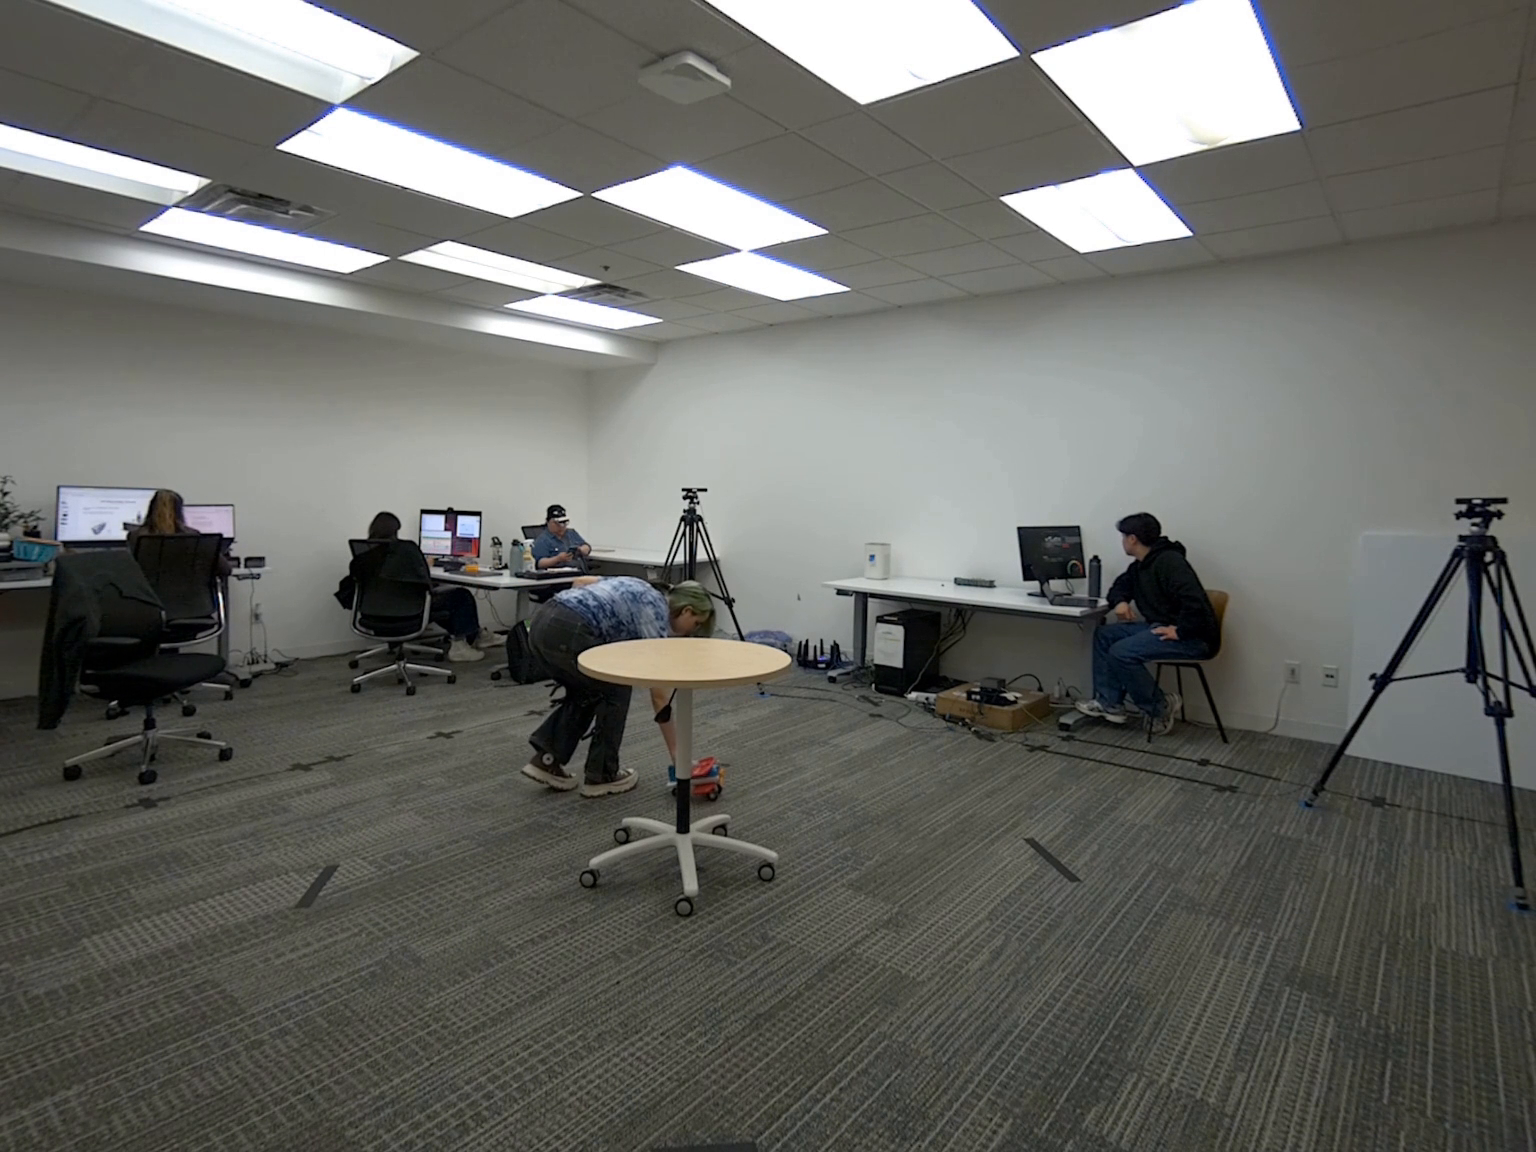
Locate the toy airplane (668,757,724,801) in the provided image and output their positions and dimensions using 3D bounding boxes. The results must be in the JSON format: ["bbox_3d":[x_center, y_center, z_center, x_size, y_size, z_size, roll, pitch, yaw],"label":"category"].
[{"bbox_3d":[-0.340,0.925,3.841,0.254,0.156,0.256,0,3,-19],"label":"toy airplane"}]
